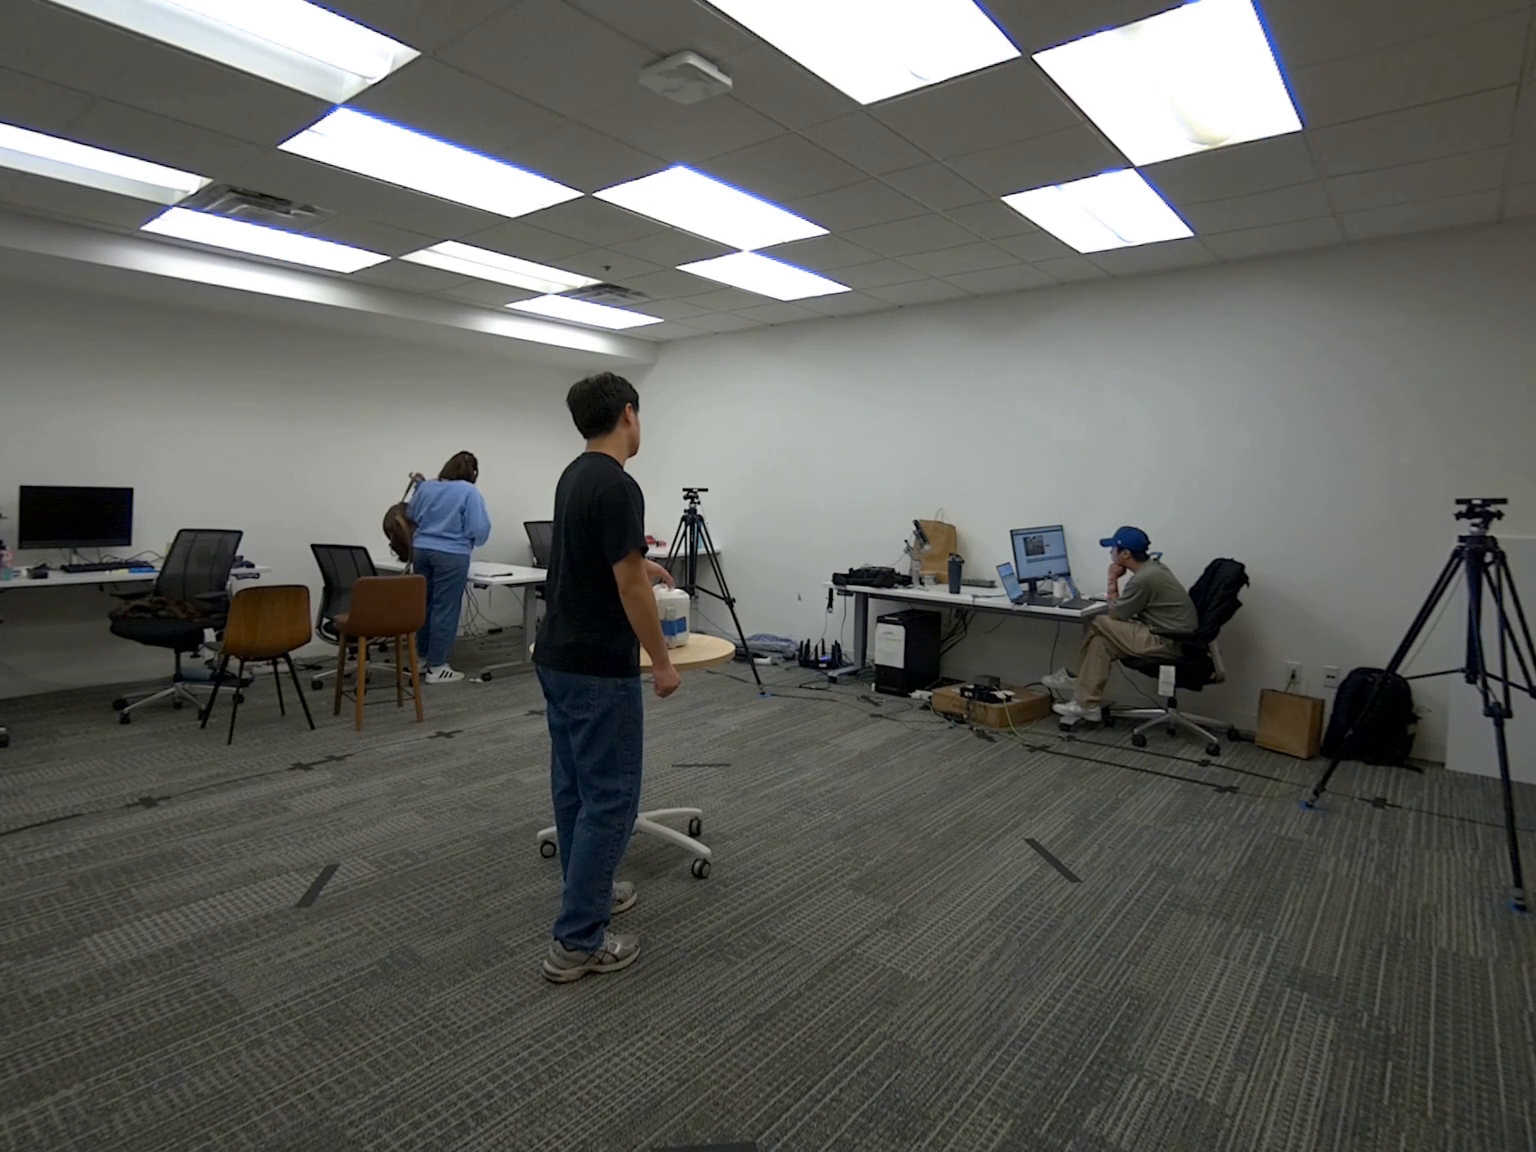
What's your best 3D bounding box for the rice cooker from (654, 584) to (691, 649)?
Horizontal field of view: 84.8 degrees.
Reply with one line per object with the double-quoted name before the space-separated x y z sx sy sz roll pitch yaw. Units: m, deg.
"rice cooker" -0.412 0.144 3.228 0.223 0.232 0.216 3 4 23
